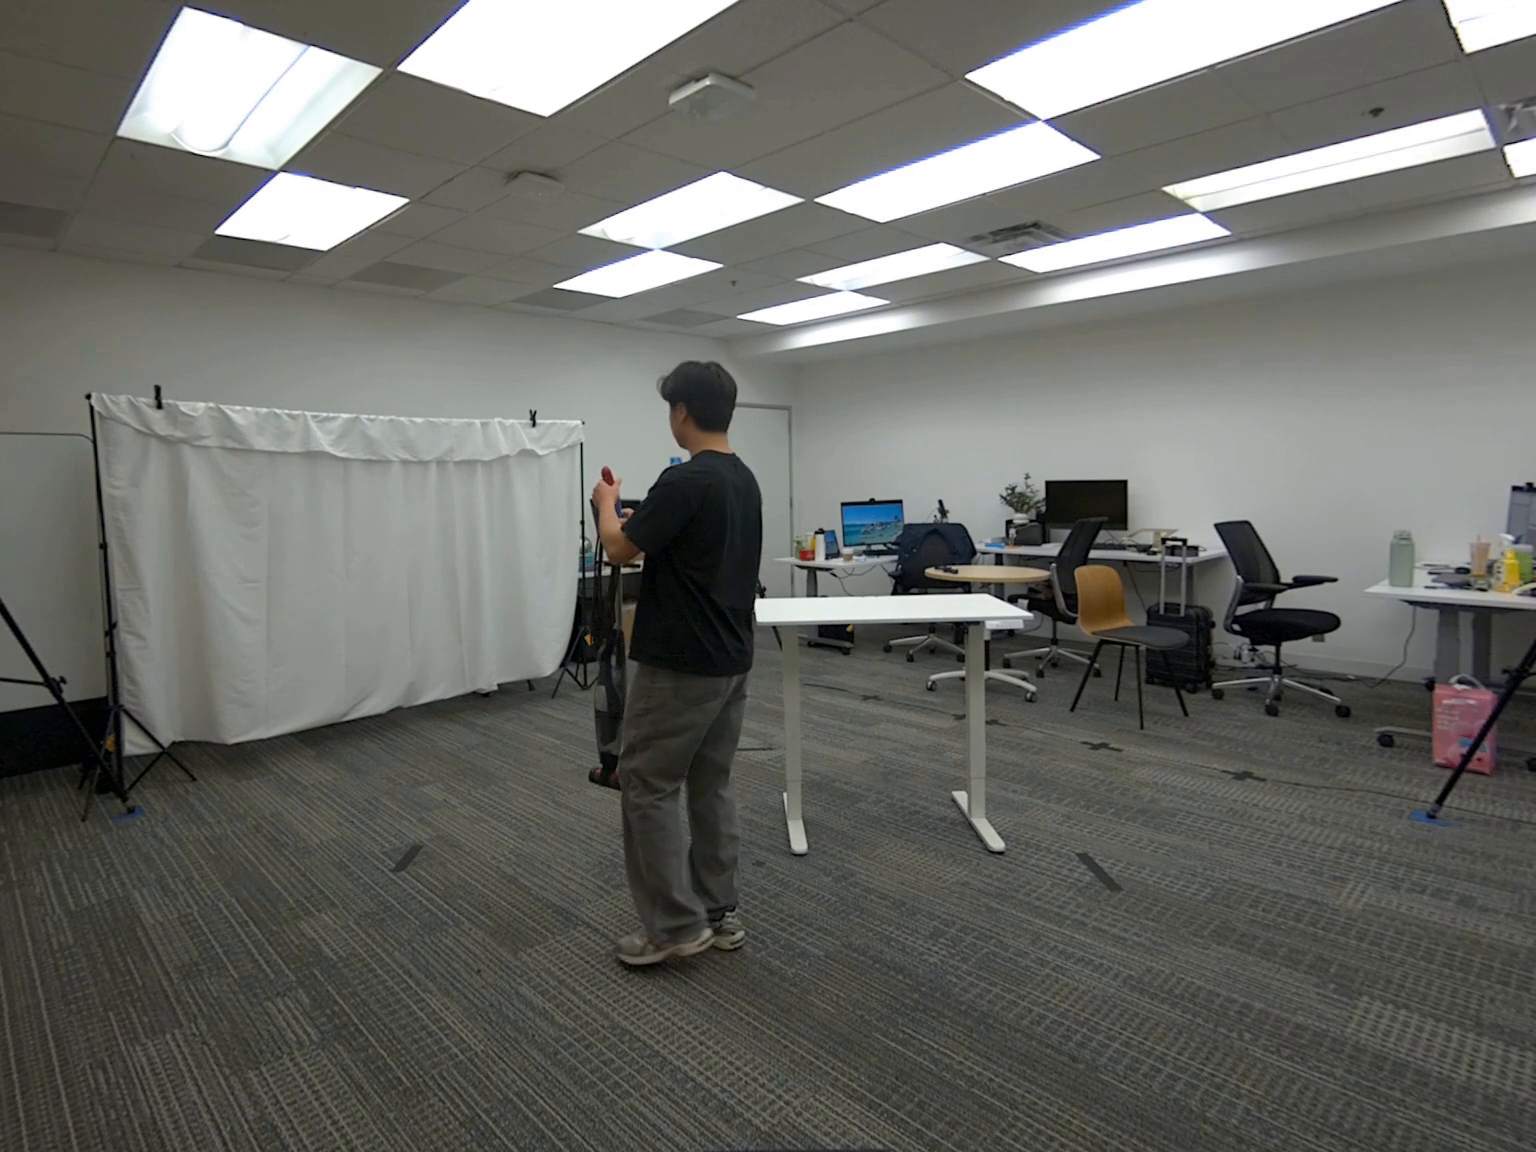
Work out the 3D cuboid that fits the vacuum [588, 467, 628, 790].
[{"bbox_3d":[-0.520,0.189,2.789,0.258,1.042,0.142,0,8,25],"label":"vacuum"}]
